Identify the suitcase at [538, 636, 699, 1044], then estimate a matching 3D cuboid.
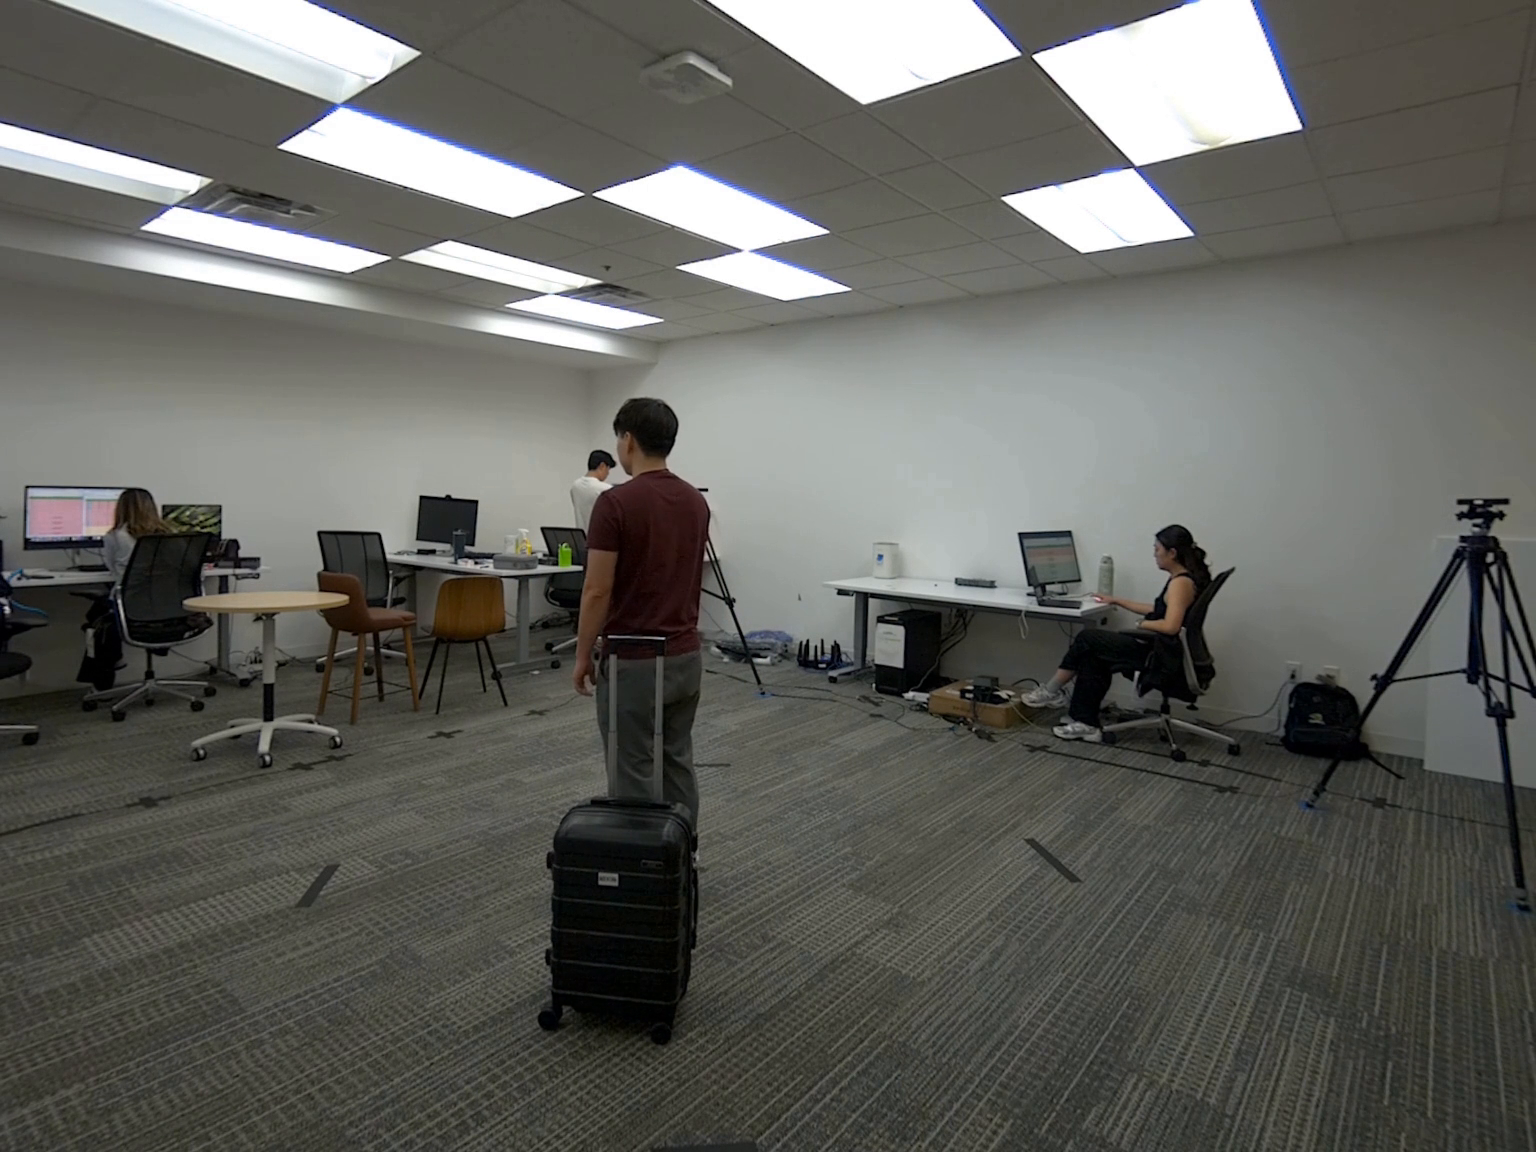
[{"bbox_3d":[-0.383,0.676,2.239,0.387,0.974,0.256,2,5,5],"label":"suitcase"}]
